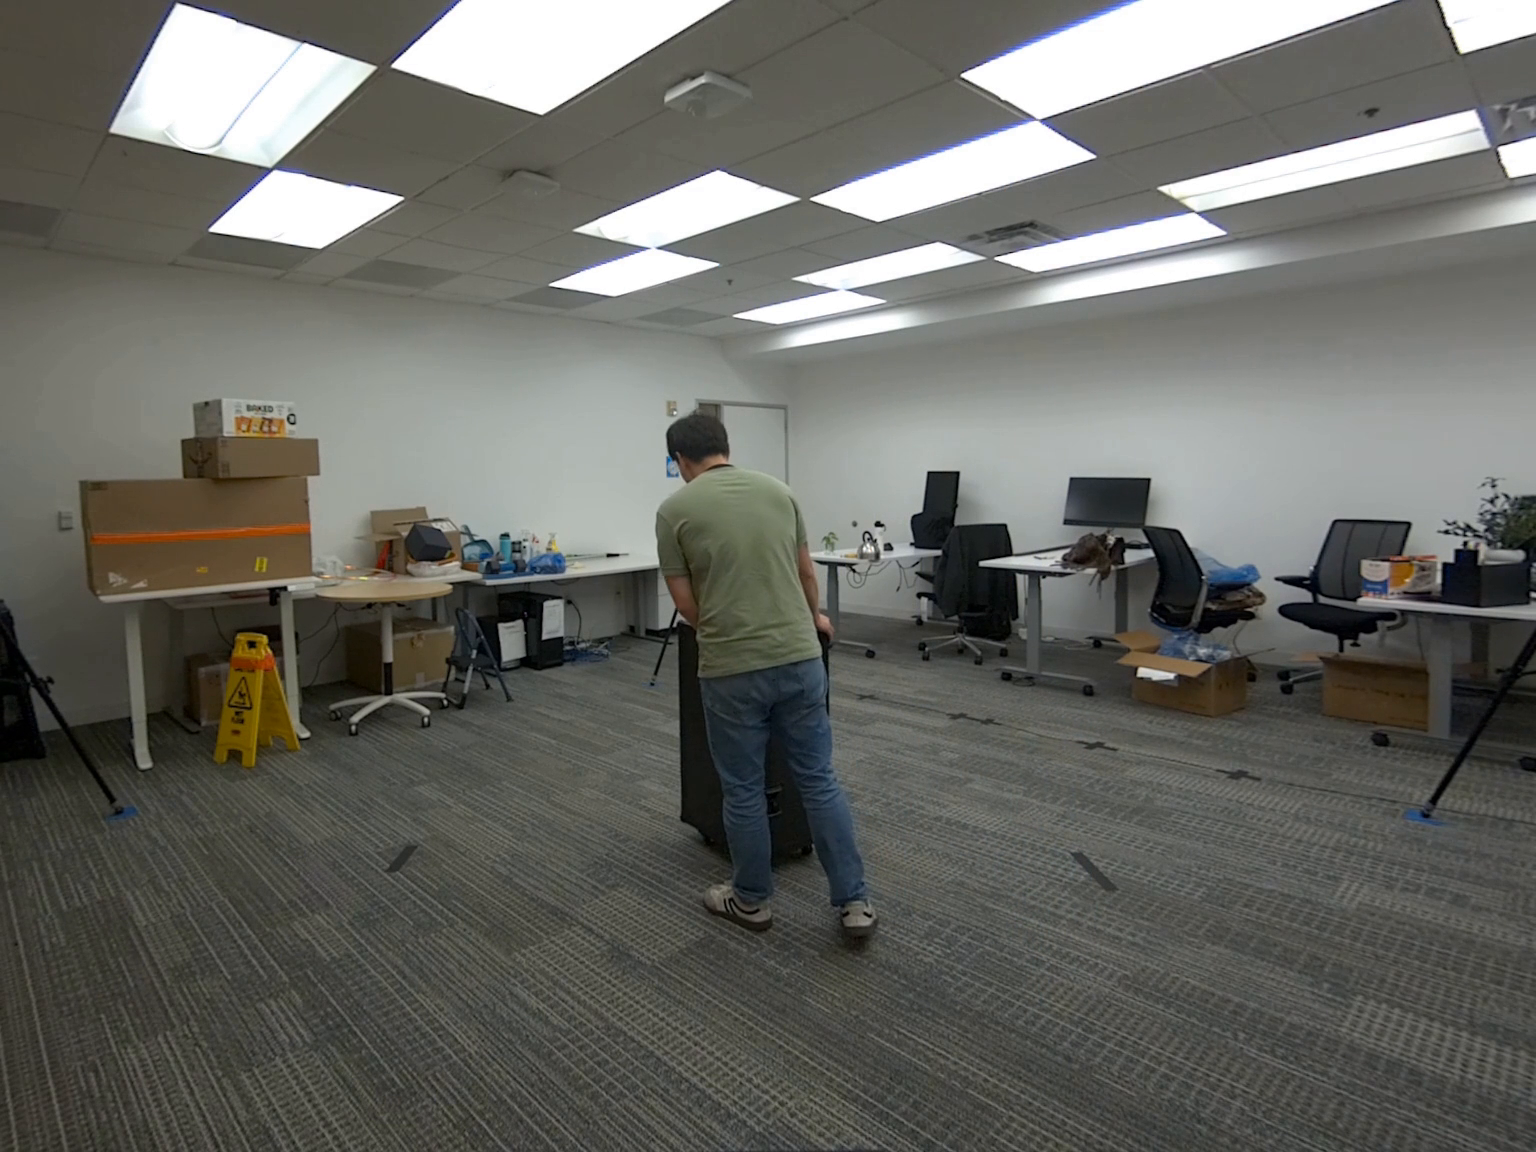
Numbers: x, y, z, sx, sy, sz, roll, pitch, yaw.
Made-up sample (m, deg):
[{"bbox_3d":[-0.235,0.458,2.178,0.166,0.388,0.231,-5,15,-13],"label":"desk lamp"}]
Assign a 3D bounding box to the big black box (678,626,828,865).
[{"bbox_3d":[-0.053,0.607,3.221,0.386,0.859,0.537,-2,4,-35],"label":"big black box"}]
